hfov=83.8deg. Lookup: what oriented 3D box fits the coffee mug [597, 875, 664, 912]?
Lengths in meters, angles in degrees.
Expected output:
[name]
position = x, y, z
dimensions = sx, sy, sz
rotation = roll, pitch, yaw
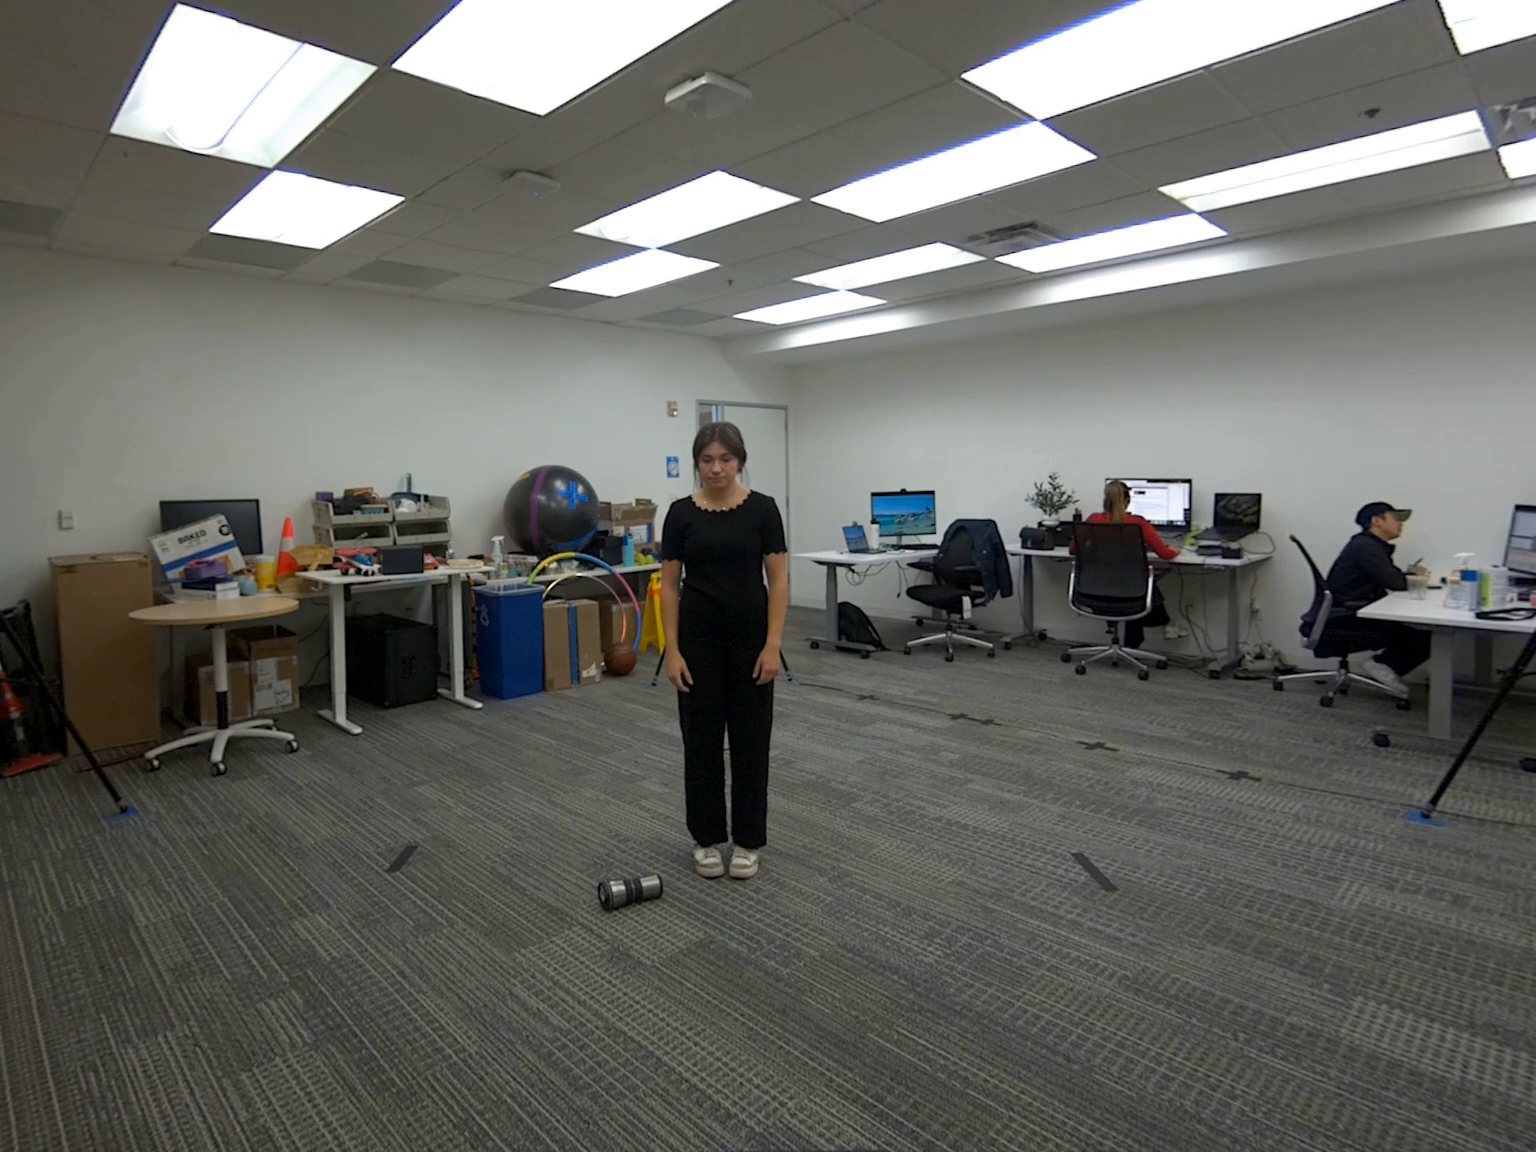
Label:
[coffee mug]
position = -0.458, 1.035, 2.847
dimensions = 0.198, 0.087, 0.126
rotation = -3, 18, -29
